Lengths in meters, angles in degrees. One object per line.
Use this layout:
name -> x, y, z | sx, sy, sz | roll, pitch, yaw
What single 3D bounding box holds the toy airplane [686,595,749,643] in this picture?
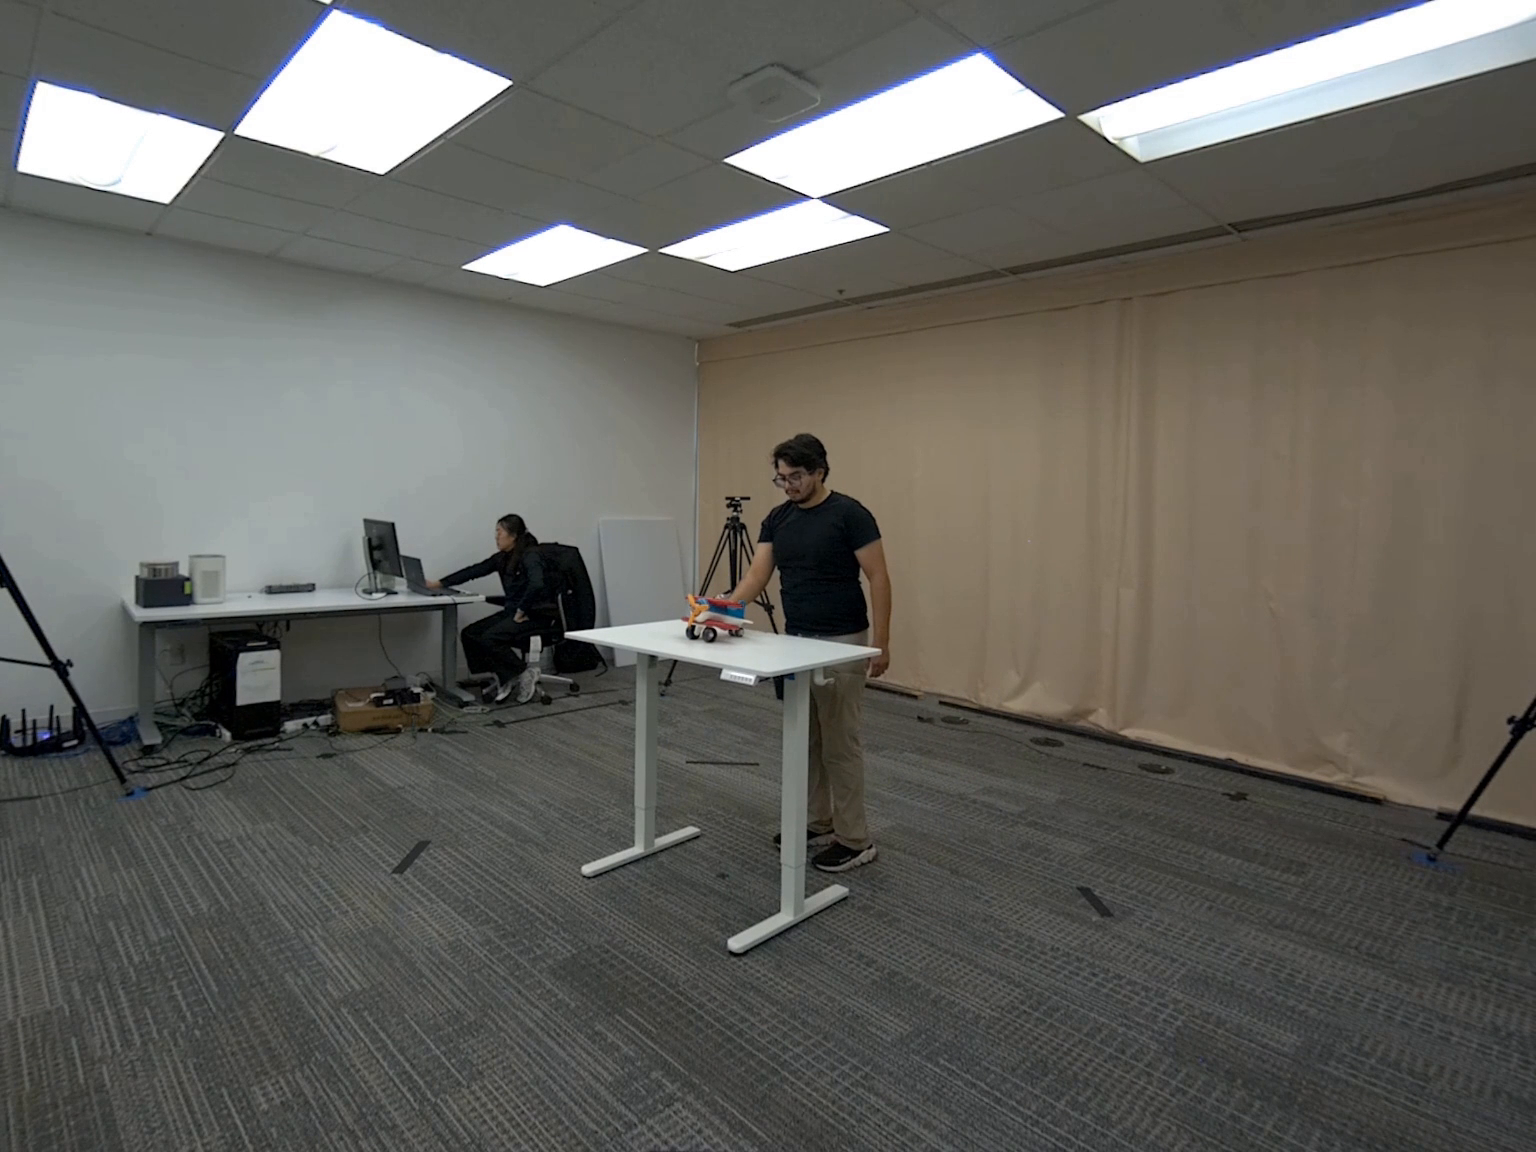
toy airplane -> -0.201, 0.150, 3.046 | 0.254, 0.156, 0.256 | 2, 5, 16
